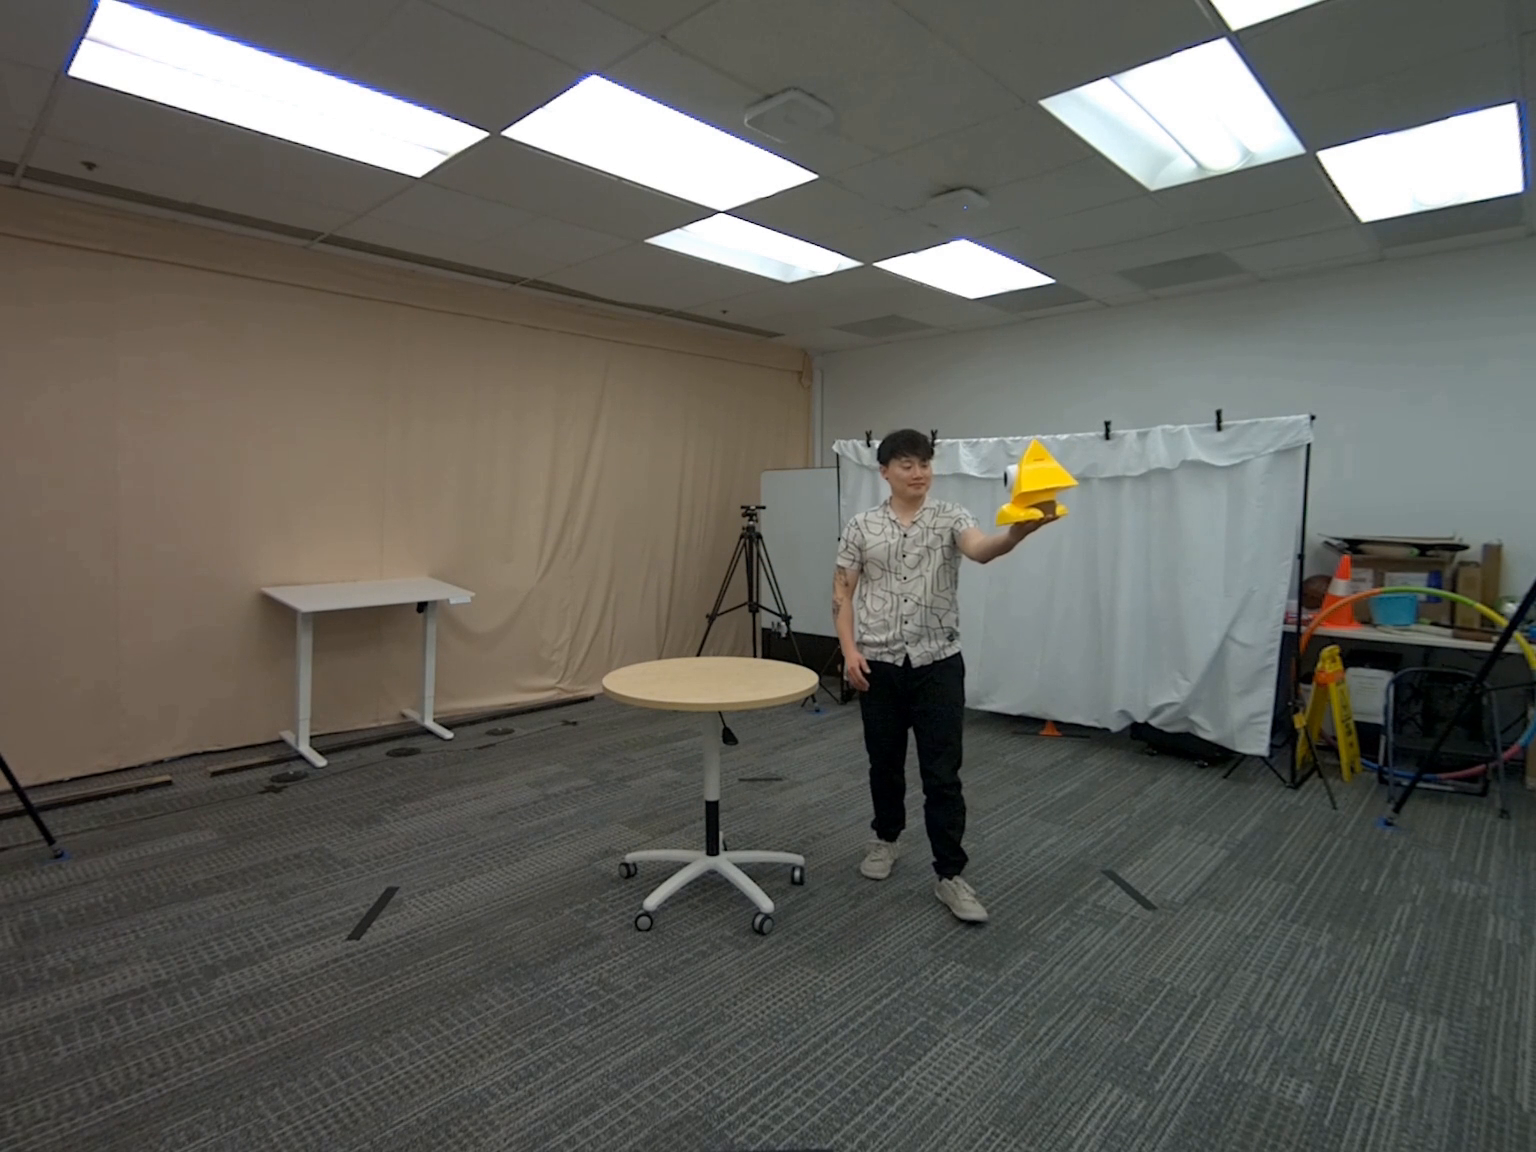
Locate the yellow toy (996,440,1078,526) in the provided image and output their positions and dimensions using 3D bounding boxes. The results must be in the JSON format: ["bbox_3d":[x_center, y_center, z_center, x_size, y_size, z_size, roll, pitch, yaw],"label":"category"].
[{"bbox_3d":[0.770,-0.278,2.483,0.201,0.231,0.196,-8,-3,-22],"label":"yellow toy"}]
